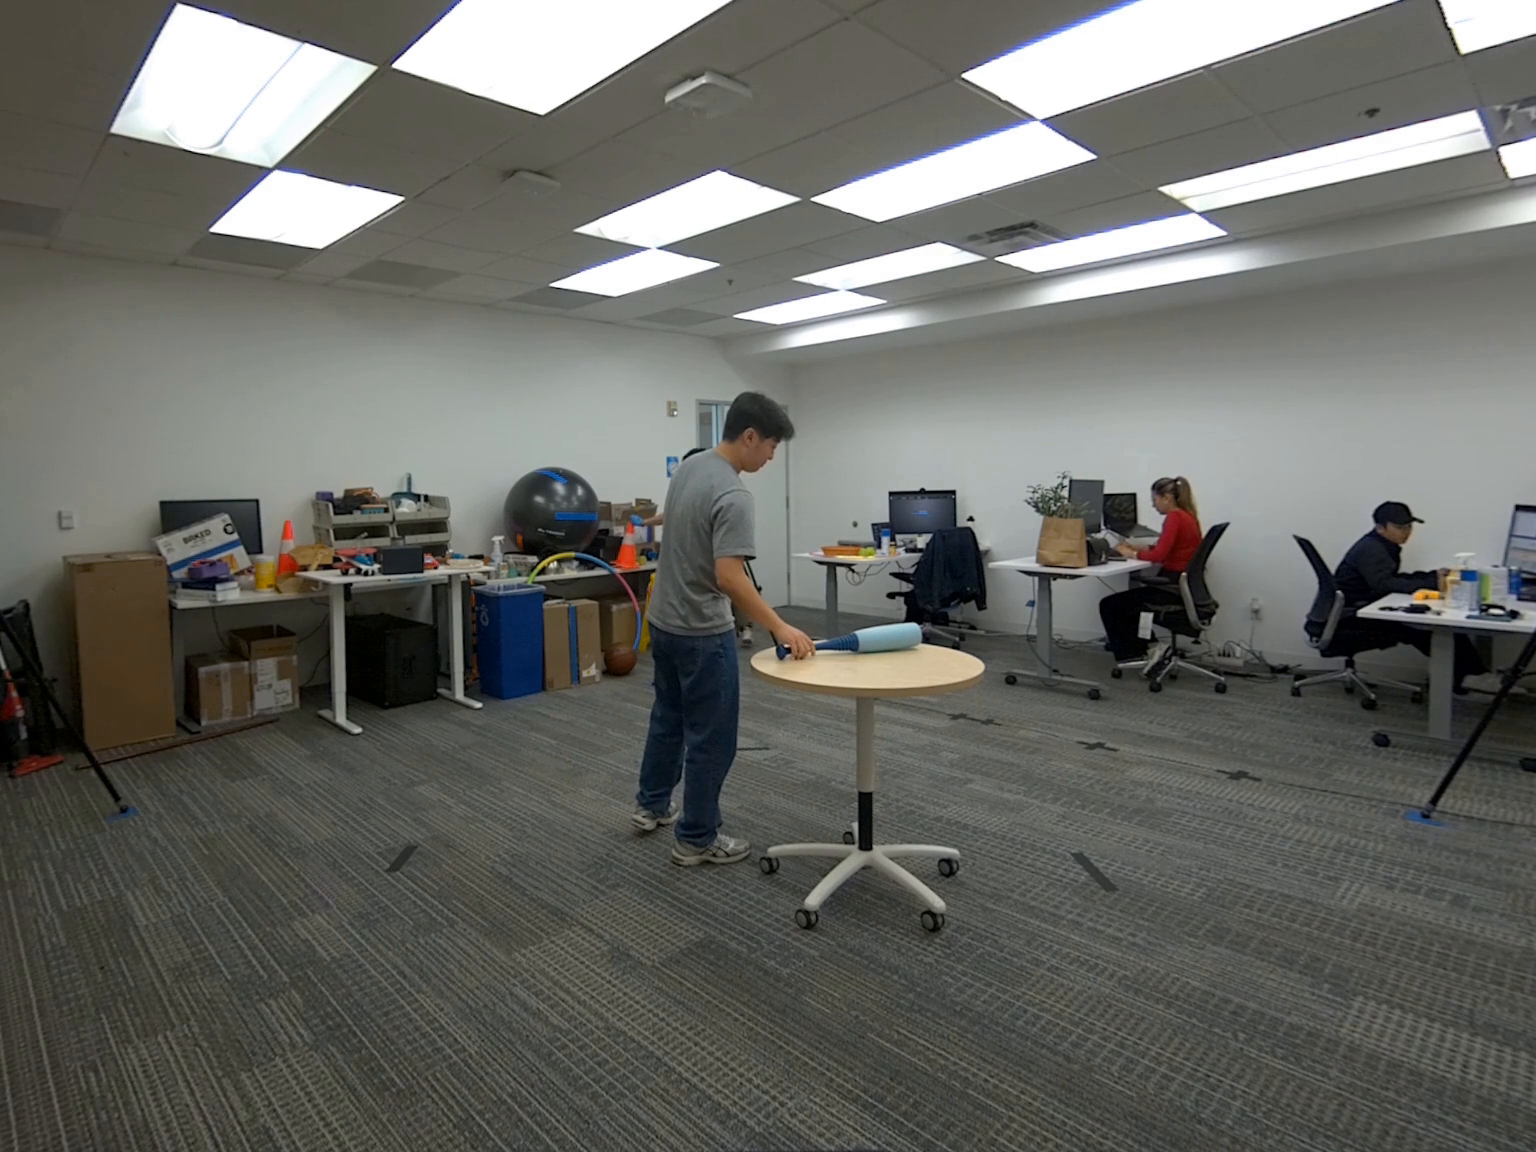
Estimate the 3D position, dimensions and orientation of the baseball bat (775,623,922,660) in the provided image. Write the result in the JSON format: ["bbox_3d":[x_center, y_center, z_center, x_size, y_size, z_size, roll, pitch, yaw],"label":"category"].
[{"bbox_3d":[0.284,0.236,2.975,0.536,0.088,0.090,-6,6,-15],"label":"baseball bat"}]
